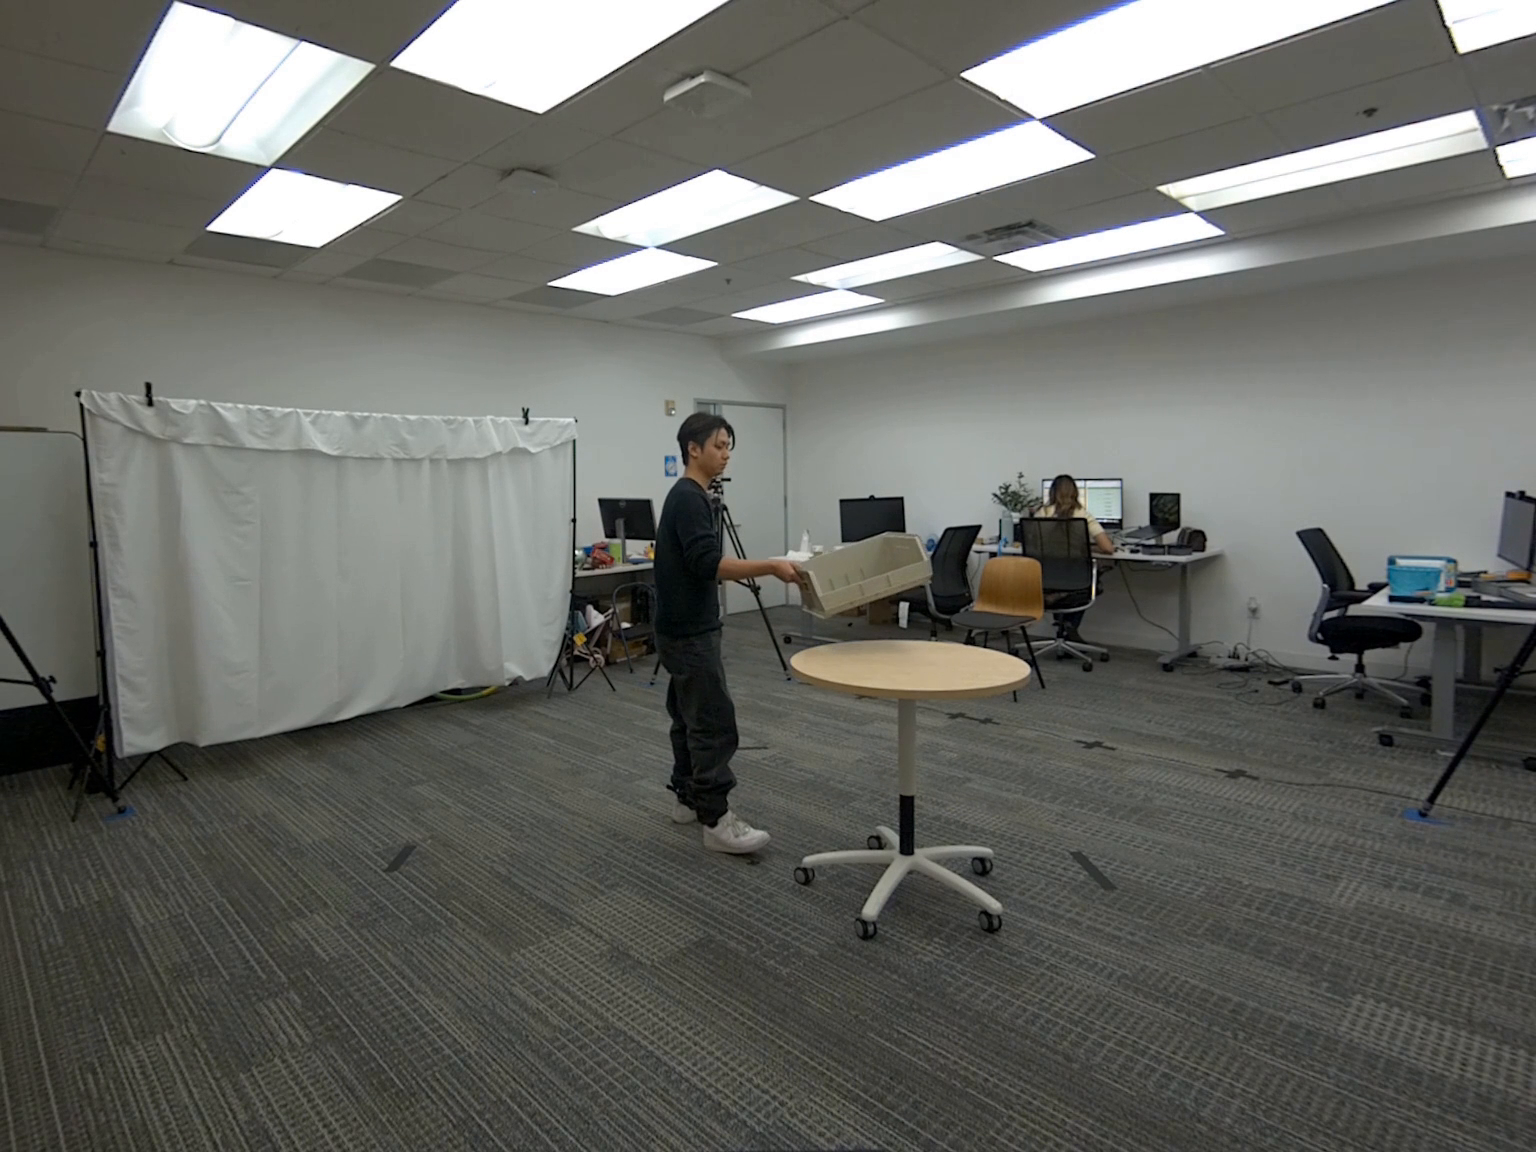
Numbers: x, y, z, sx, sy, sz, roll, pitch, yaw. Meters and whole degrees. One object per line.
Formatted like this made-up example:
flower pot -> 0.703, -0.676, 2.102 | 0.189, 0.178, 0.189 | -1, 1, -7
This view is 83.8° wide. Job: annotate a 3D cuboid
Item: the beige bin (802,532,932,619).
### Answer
beige bin -> 0.332, 0.001, 3.103 | 0.420, 0.188, 0.380 | -17, 4, -6
